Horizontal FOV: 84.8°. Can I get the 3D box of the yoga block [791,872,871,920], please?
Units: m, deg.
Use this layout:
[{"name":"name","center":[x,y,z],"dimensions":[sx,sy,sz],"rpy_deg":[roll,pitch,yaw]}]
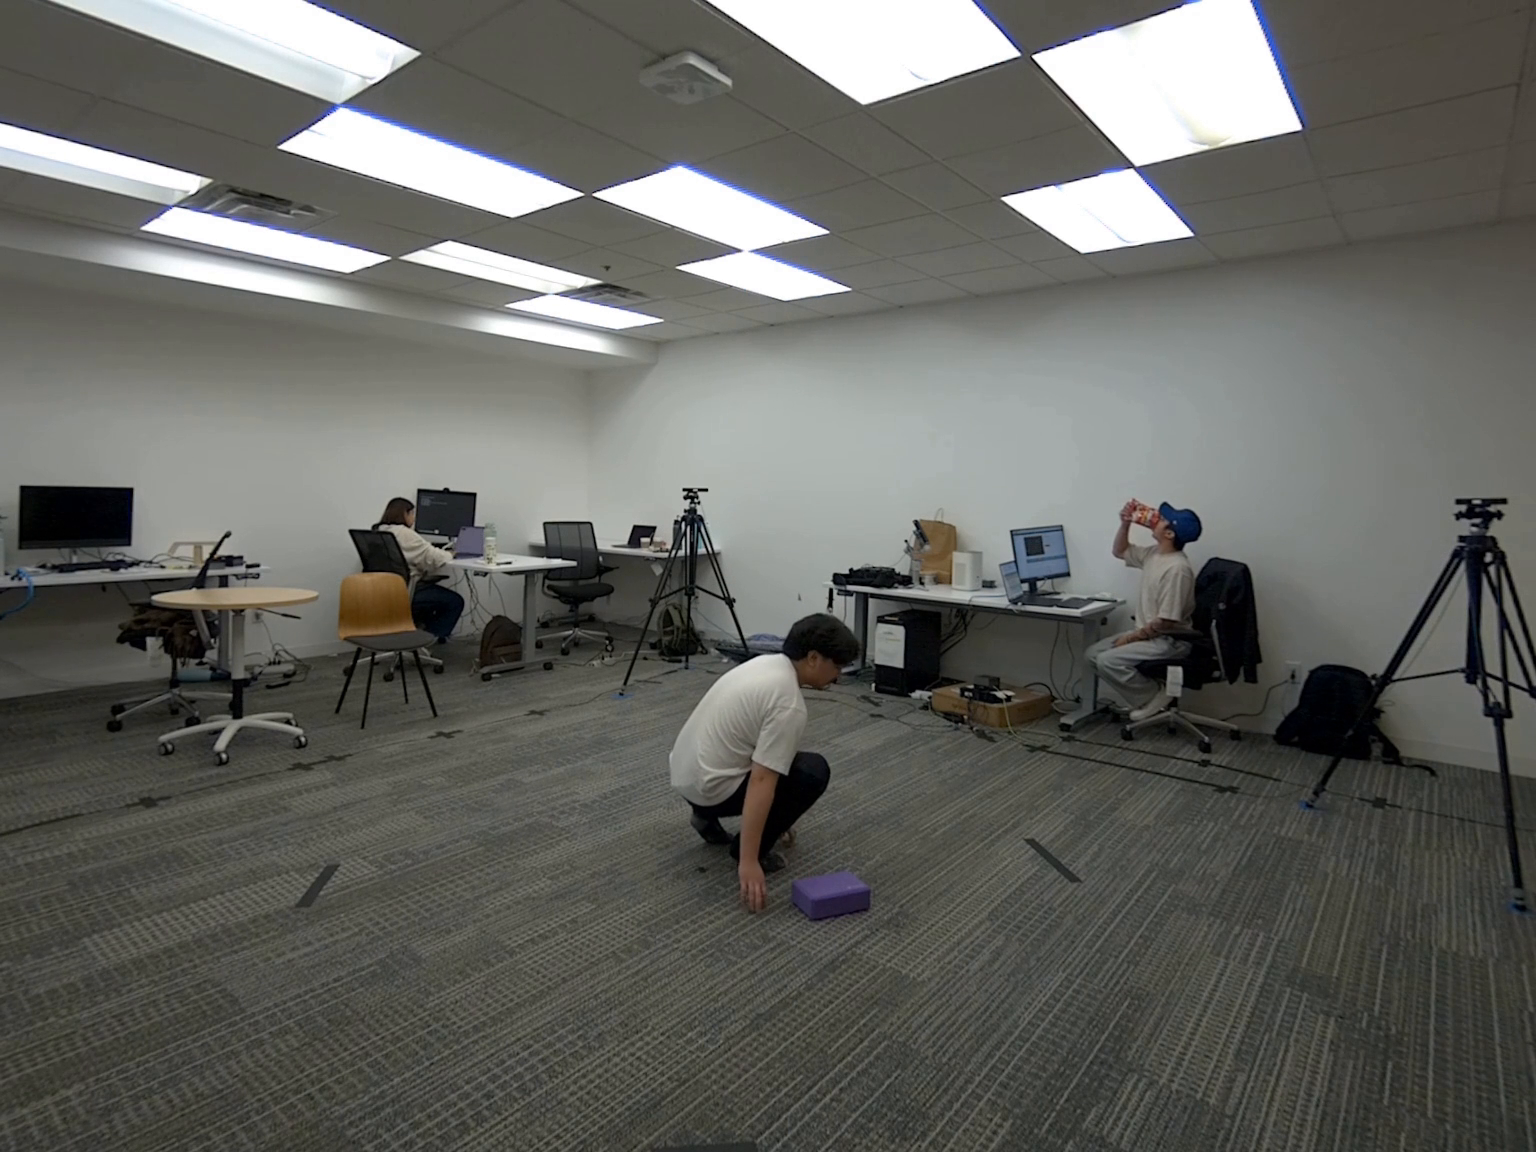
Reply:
[{"name":"yoga block","center":[0.203,1.062,2.855],"dimensions":[0.224,0.076,0.153],"rpy_deg":[-1,5,-24]}]
